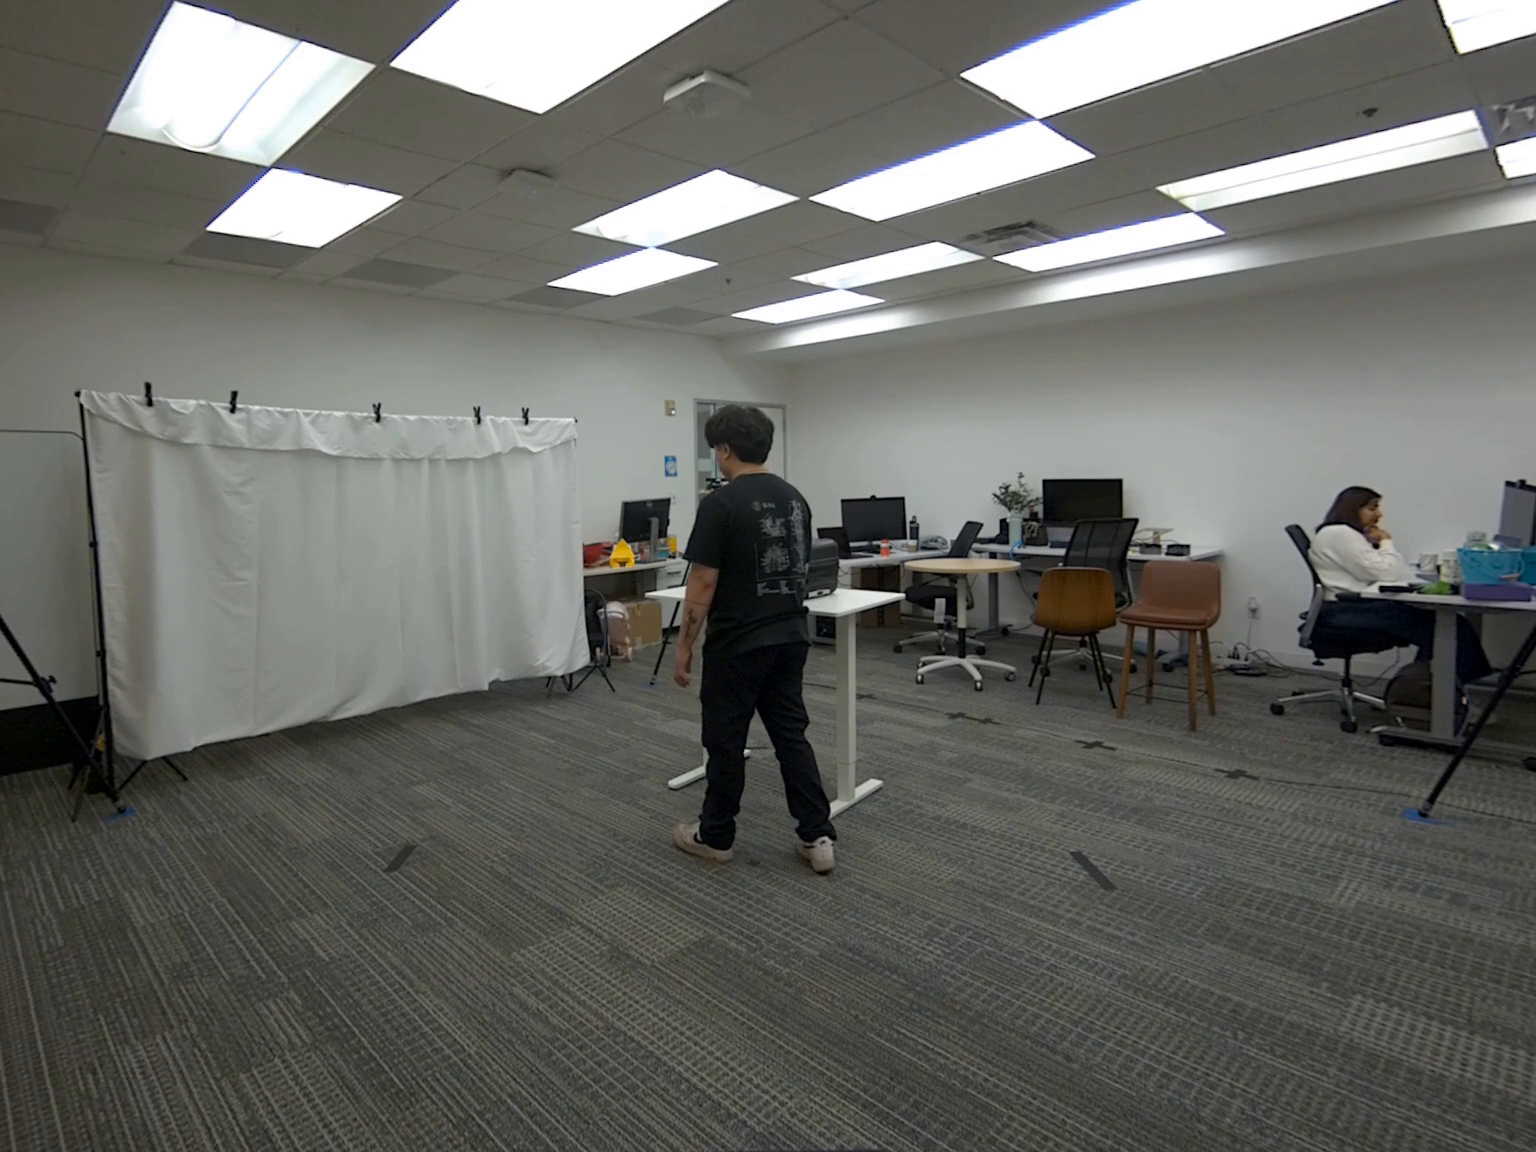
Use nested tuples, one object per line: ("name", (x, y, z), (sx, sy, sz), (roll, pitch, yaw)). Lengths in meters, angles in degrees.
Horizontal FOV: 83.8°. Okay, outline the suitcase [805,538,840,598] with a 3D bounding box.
("suitcase", (0.029, -0.037, 3.823), (0.566, 0.247, 0.365), (4, 7, 41))
